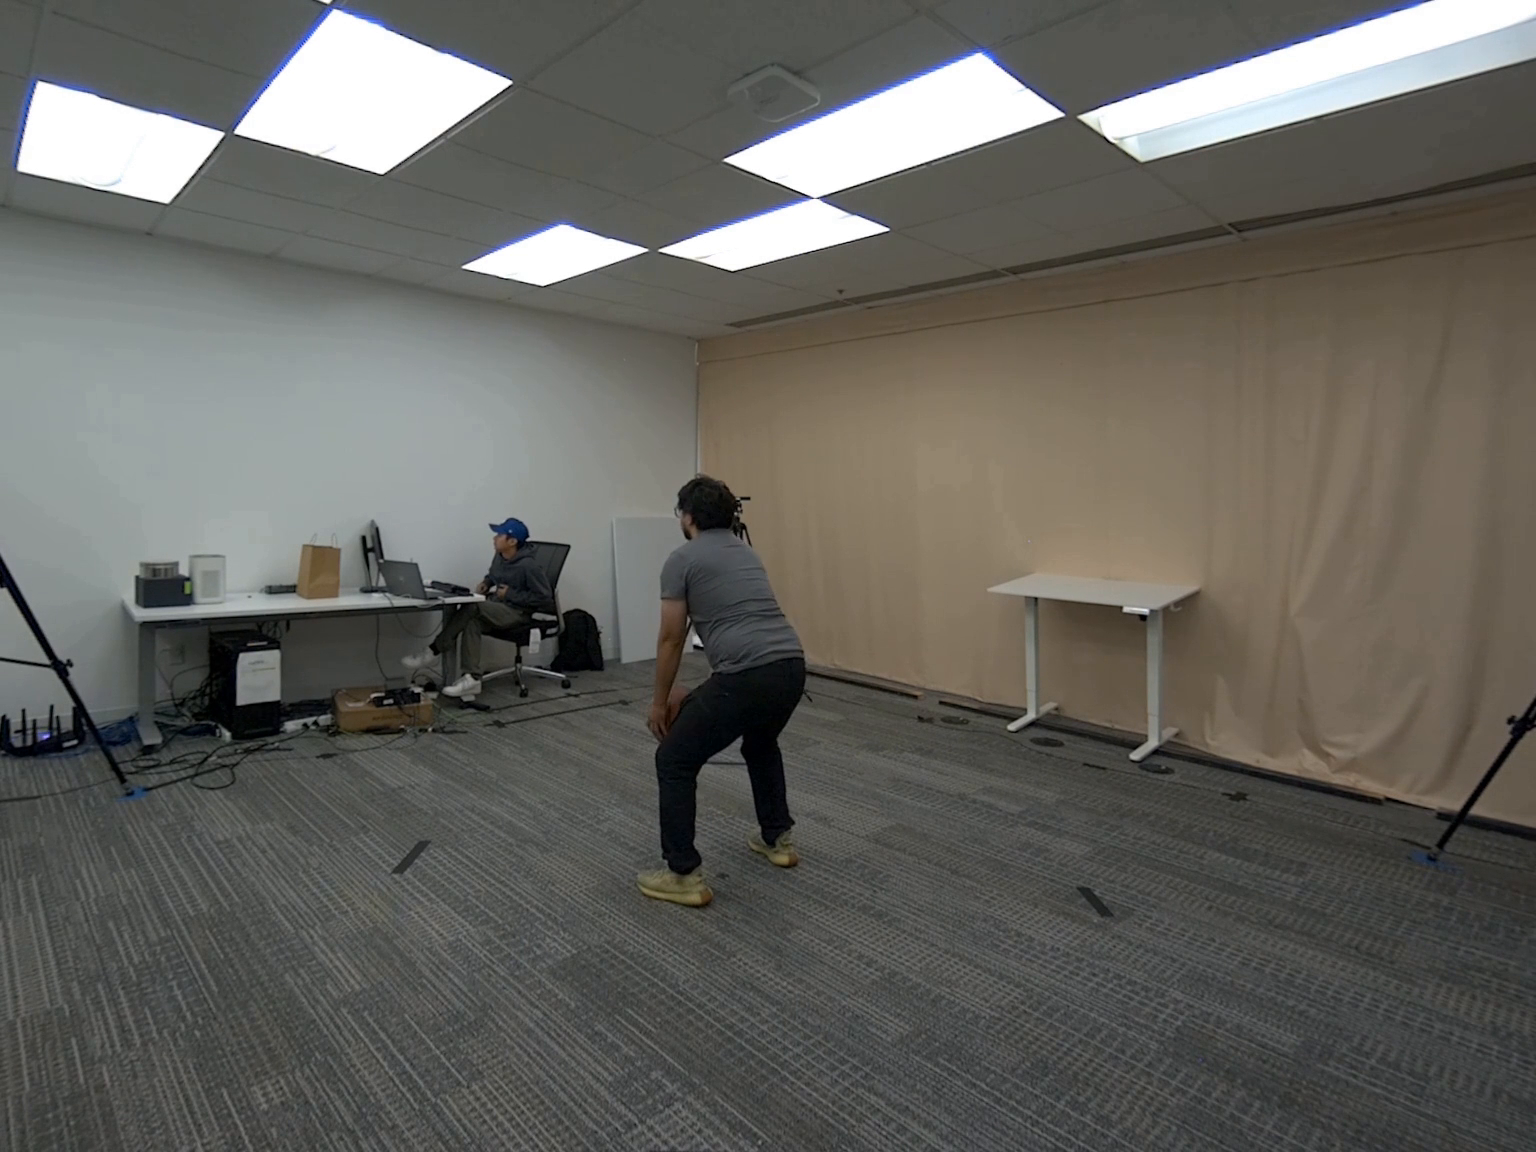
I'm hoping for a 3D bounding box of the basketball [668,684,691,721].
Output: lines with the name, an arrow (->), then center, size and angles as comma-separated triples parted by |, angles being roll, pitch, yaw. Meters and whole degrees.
basketball -> -0.339, 0.553, 3.282 | 0.236, 0.235, 0.237 | 1, 4, -1
